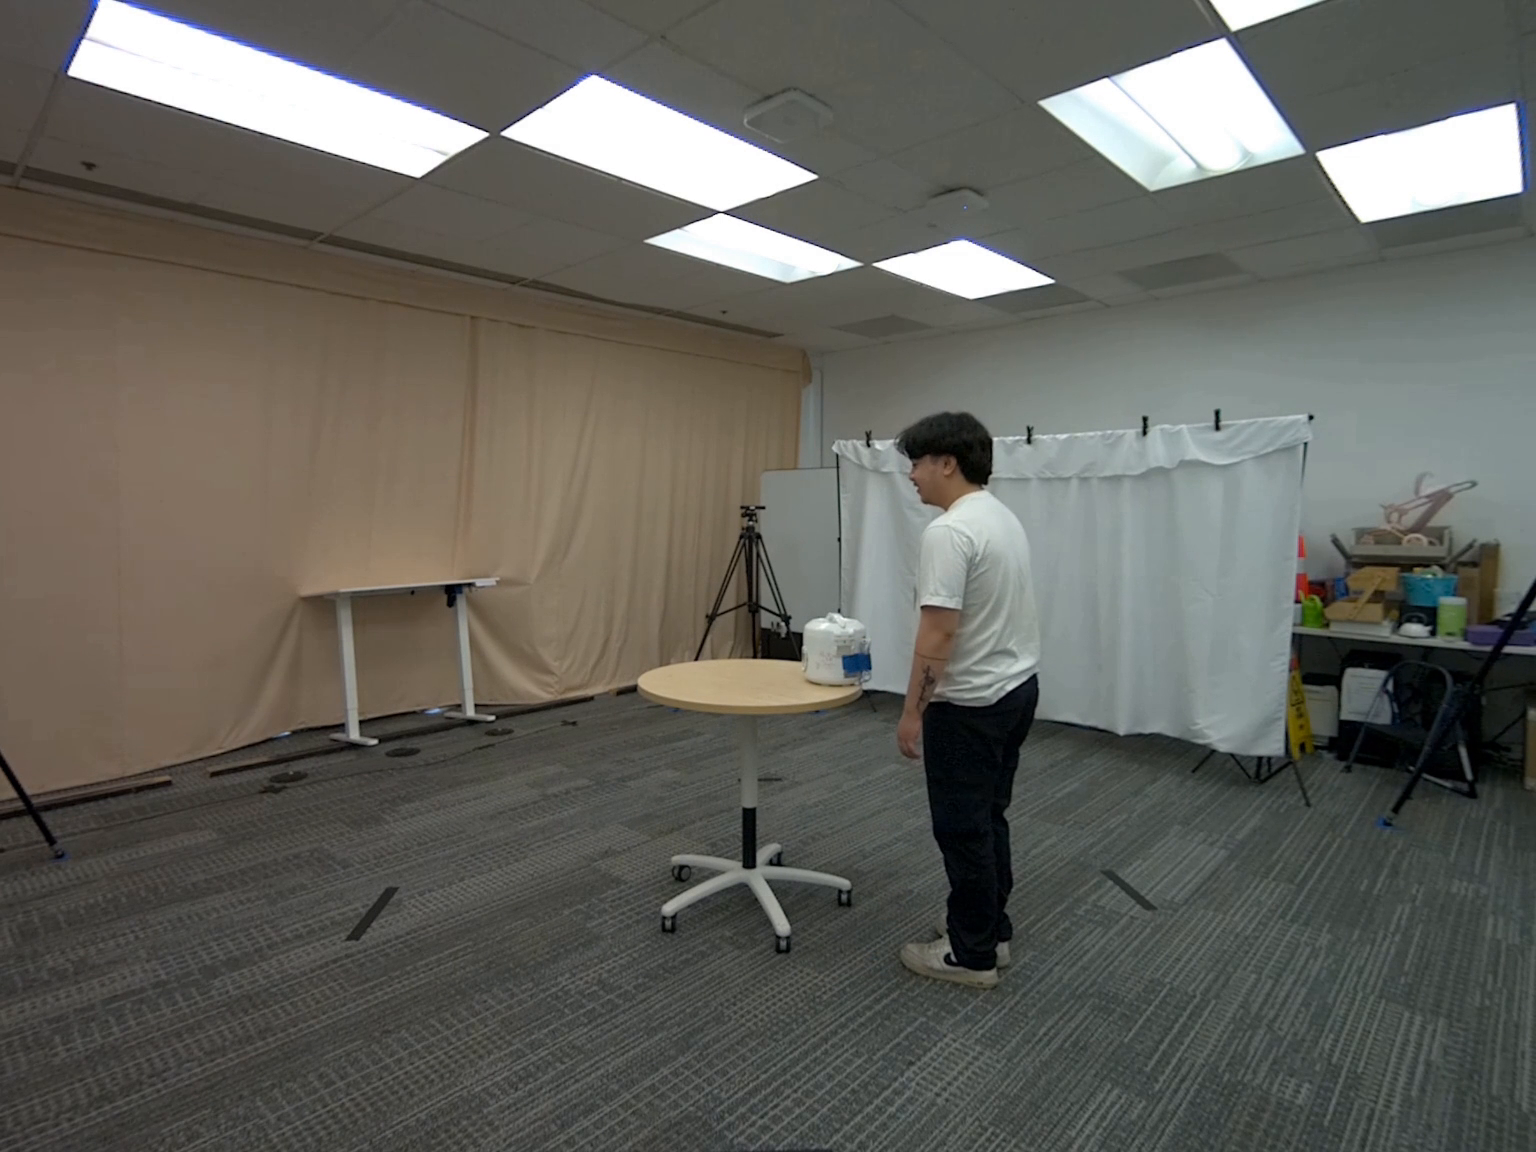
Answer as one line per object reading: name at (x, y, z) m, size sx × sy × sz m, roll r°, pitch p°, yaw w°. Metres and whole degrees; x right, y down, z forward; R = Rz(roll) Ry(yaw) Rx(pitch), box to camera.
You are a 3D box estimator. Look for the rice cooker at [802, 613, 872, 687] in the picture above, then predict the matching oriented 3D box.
rice cooker at (0.230, 0.242, 2.855) m, size 0.216 × 0.232 × 0.223 m, roll 1°, pitch 3°, yaw -8°
